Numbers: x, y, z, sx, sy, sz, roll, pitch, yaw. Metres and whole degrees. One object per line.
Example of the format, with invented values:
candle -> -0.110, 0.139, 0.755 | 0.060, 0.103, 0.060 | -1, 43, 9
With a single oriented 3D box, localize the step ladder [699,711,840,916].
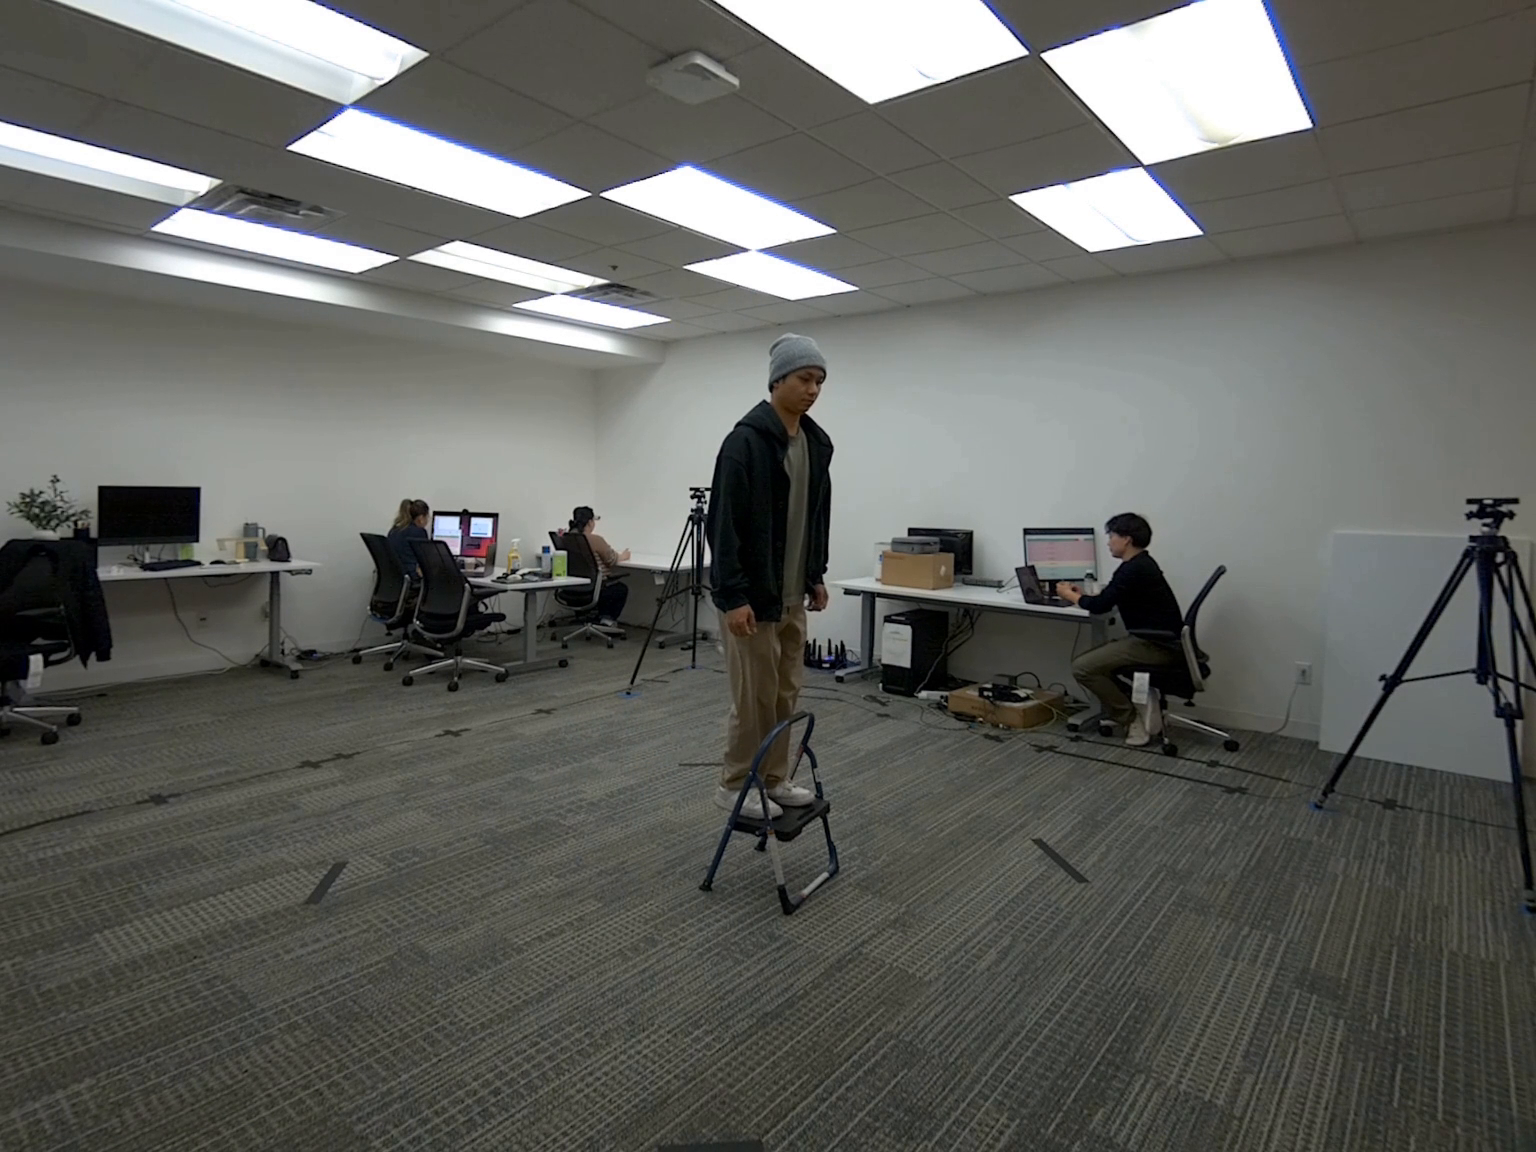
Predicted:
step ladder -> 0.016, 0.780, 3.015 | 0.359, 0.604, 0.420 | 4, 4, 29
